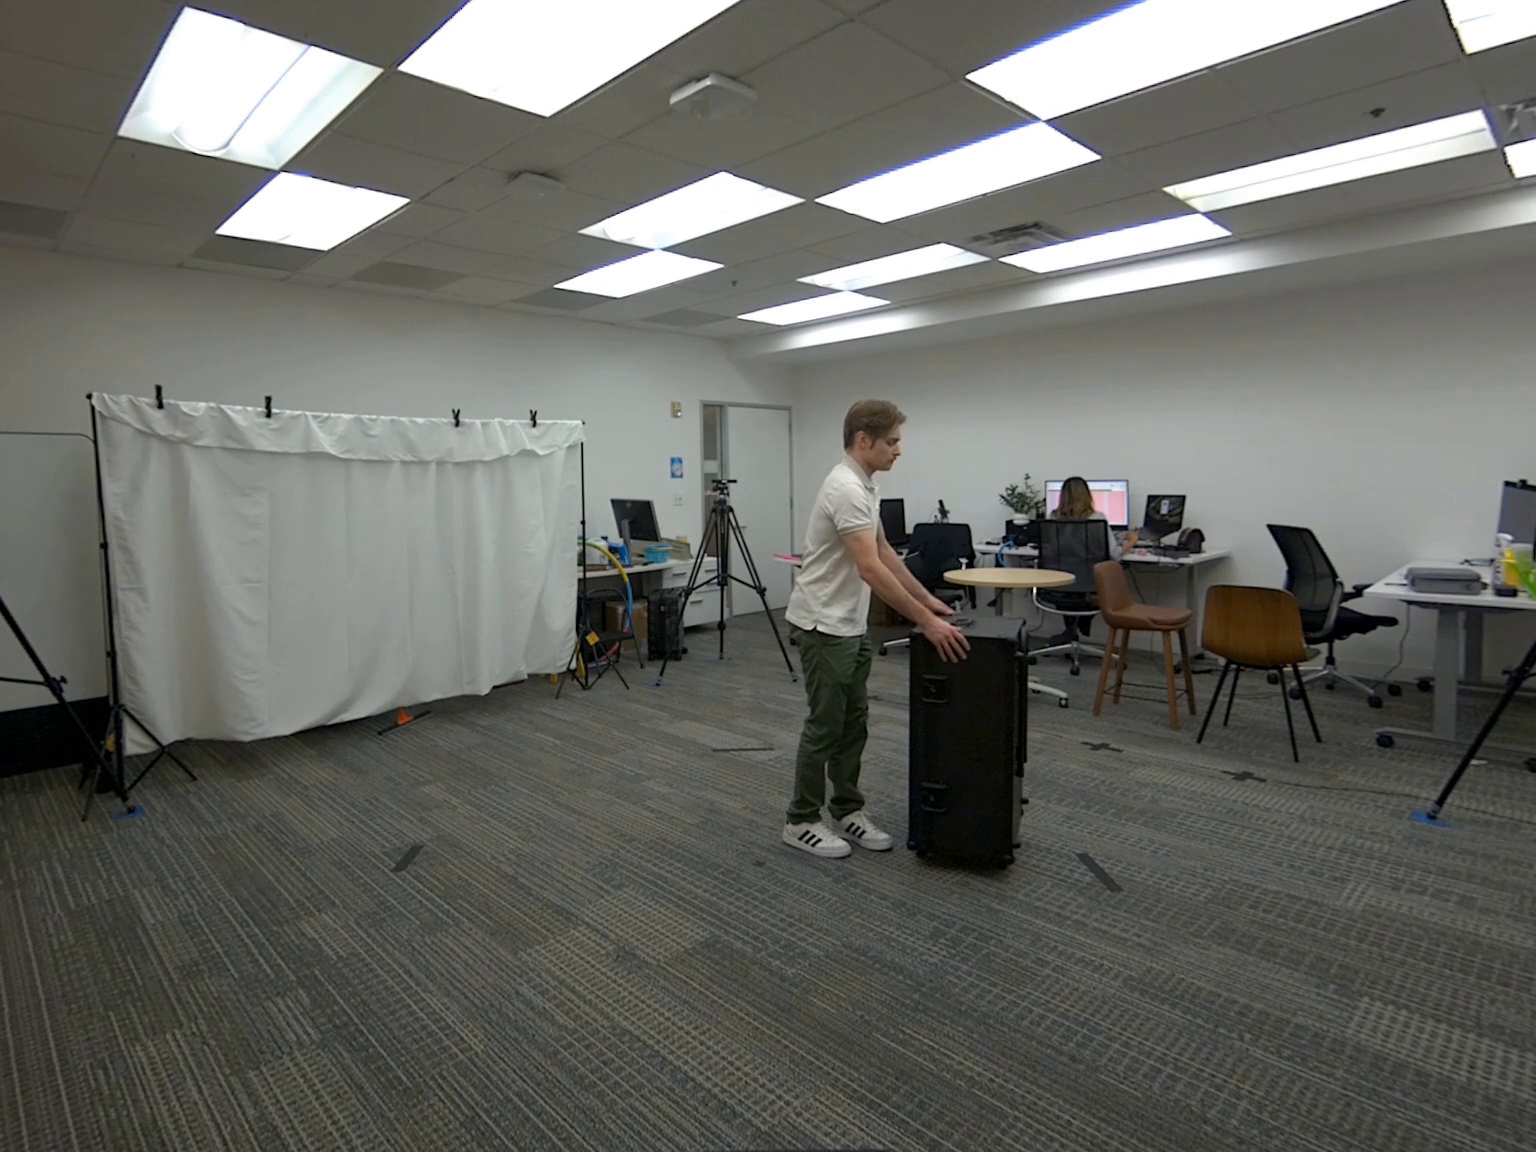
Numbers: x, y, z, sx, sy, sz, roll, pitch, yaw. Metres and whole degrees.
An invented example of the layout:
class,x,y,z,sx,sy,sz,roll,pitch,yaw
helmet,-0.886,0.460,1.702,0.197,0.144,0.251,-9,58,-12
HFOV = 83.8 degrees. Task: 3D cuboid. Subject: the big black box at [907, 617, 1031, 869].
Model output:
class,x,y,z,sx,sy,sz,roll,pitch,yaw
big black box,0.754,0.605,3.173,0.393,0.865,0.515,1,4,21
